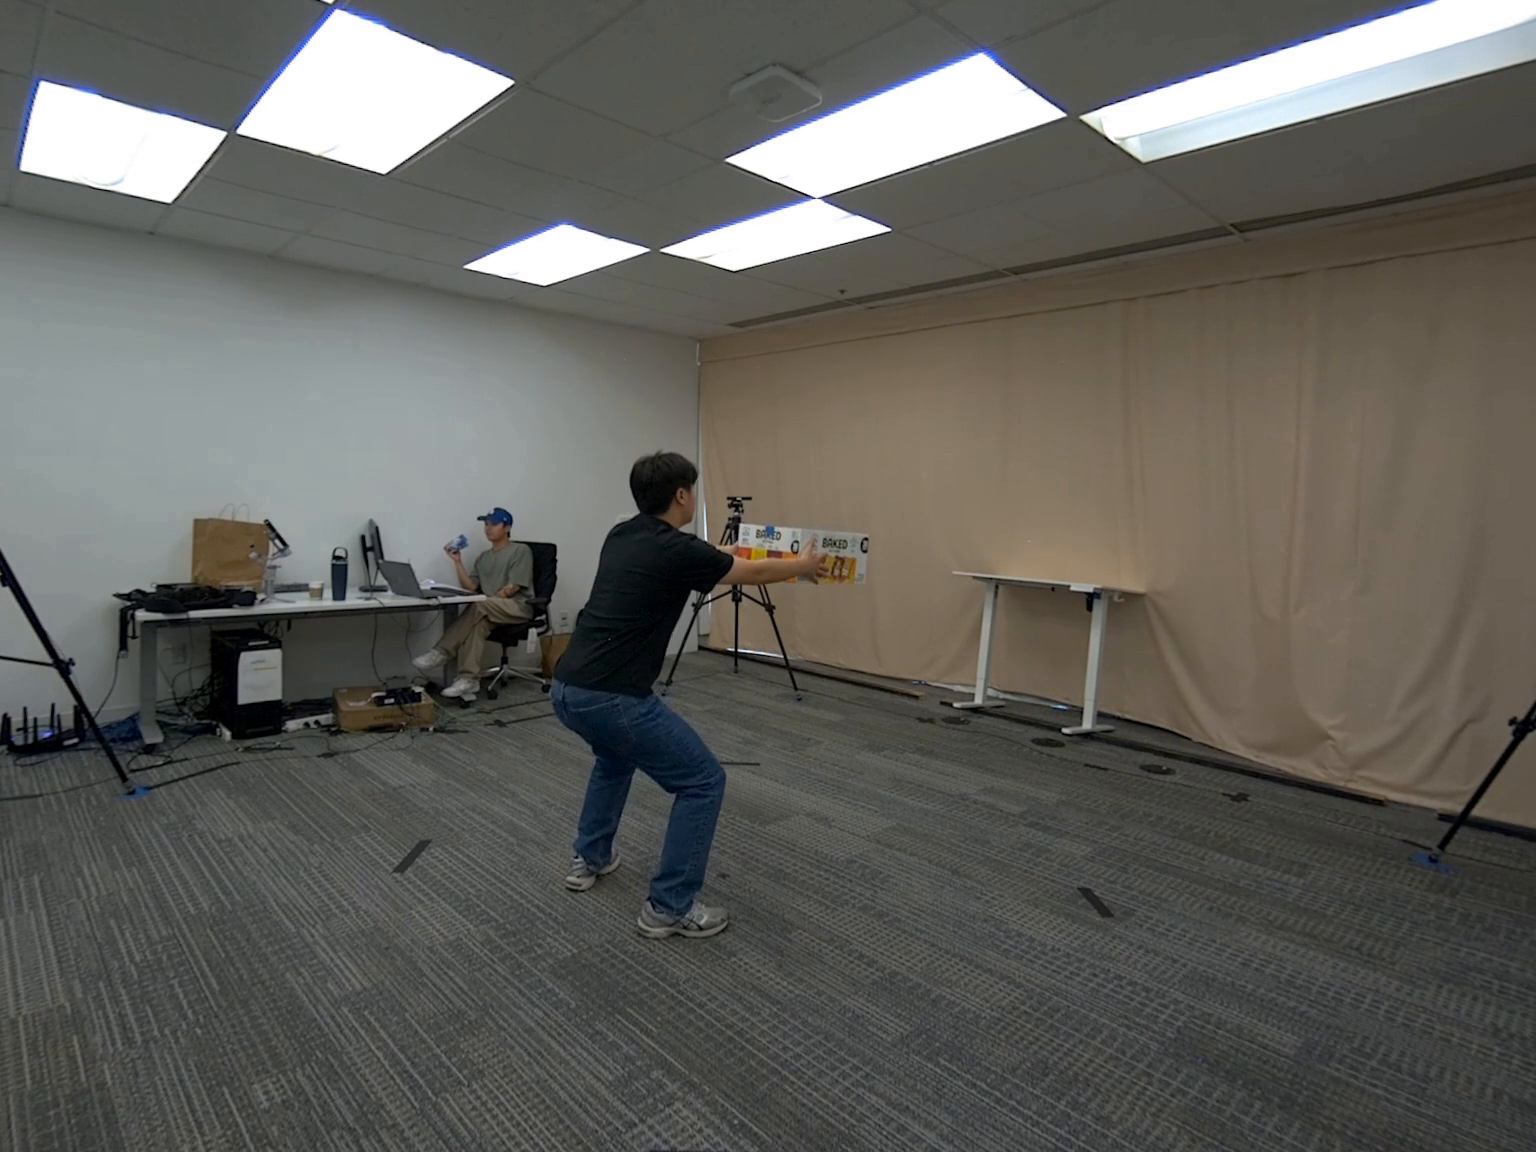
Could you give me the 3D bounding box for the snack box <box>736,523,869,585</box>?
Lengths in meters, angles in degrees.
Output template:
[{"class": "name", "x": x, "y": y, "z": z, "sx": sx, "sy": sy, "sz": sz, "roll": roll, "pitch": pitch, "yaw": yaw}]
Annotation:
[{"class": "snack box", "x": 0.134, "y": -0.077, "z": 3.367, "sx": 0.395, "sy": 0.205, "sz": 0.349, "roll": 2, "pitch": 4, "yaw": -44}]
